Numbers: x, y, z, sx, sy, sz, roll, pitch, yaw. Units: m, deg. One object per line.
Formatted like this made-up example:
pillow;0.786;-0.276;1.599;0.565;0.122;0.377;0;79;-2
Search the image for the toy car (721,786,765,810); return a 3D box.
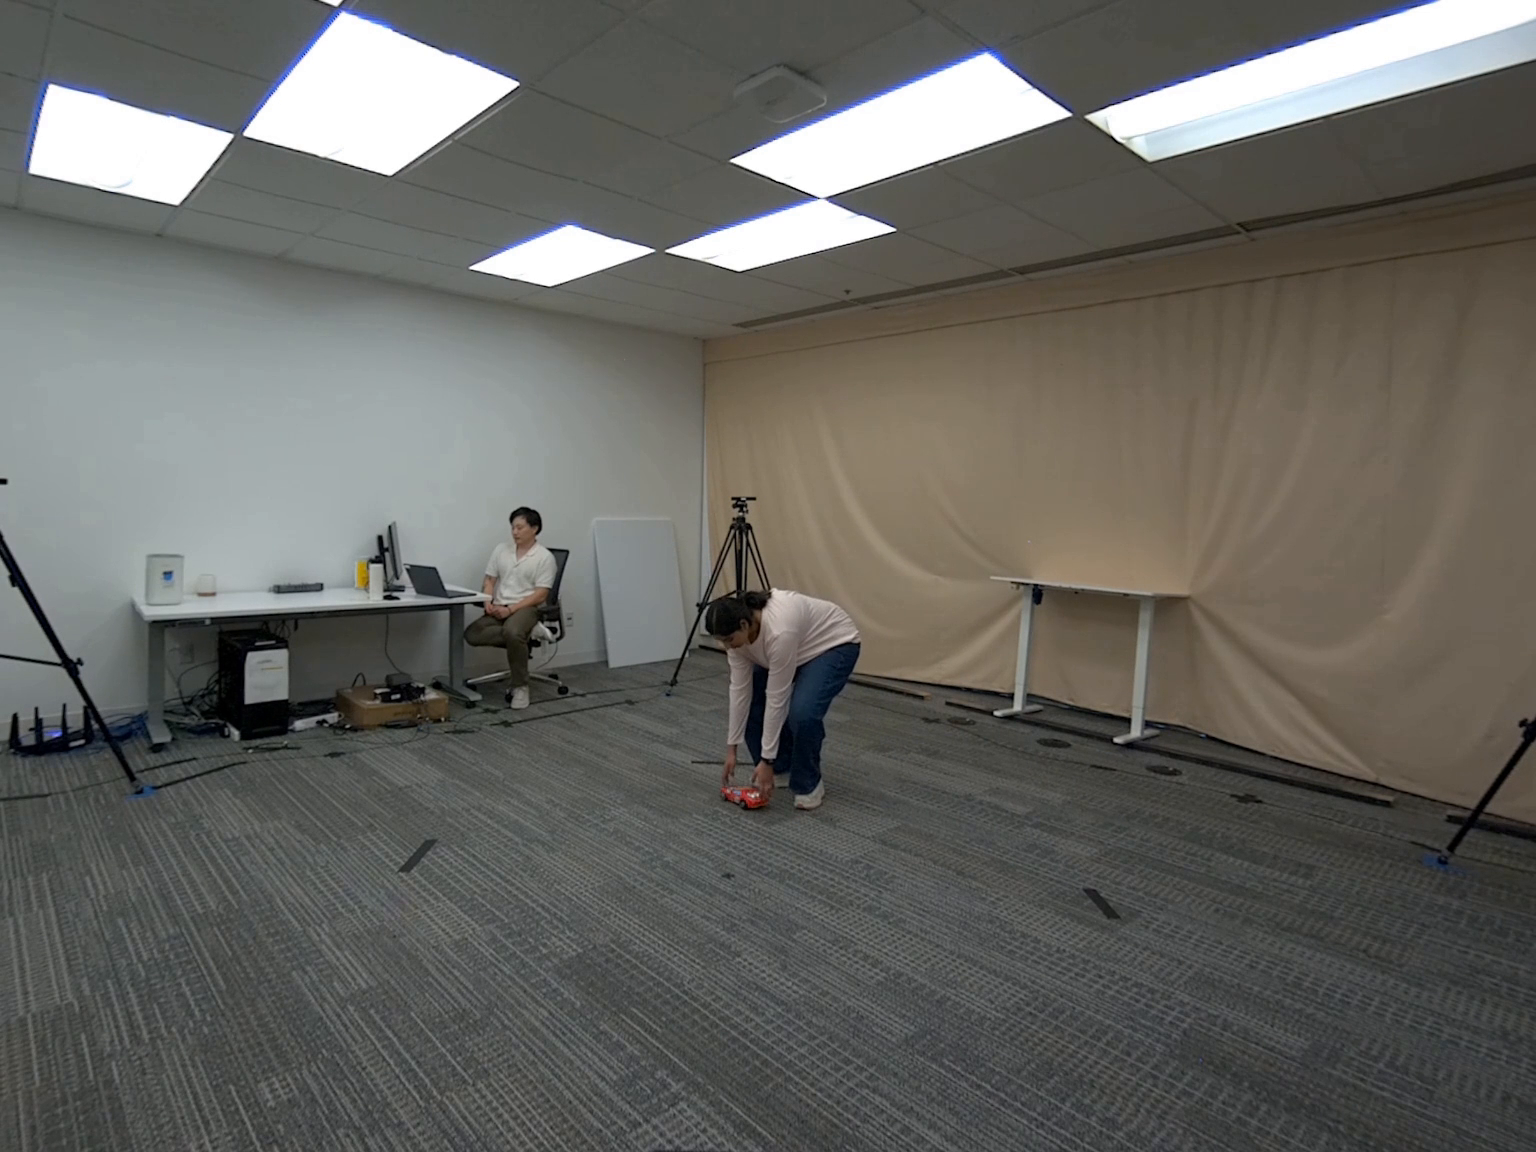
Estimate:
toy car;-0.115;1.009;3.845;0.127;0.083;0.259;-1;-5;-40
